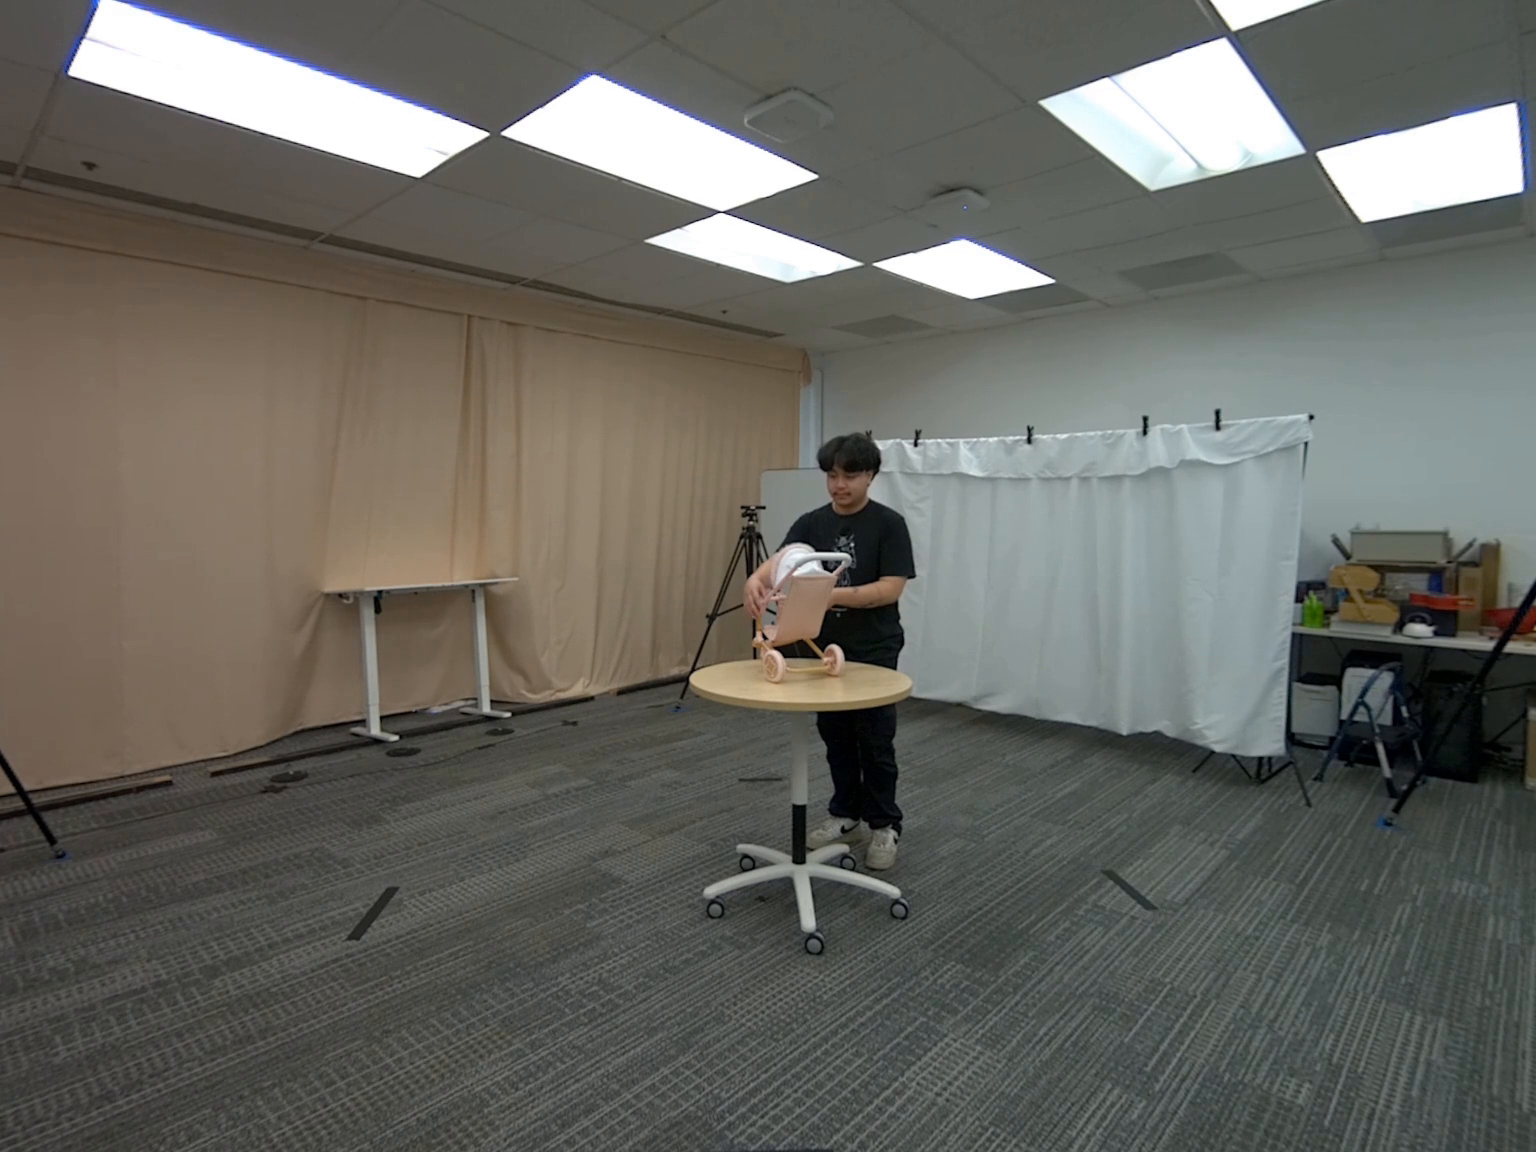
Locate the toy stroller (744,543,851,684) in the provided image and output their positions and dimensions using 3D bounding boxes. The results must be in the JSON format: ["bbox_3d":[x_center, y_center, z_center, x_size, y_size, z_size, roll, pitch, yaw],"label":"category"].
[{"bbox_3d":[0.098,0.123,2.961,0.274,0.531,0.352,0,15,-27],"label":"toy stroller"}]
